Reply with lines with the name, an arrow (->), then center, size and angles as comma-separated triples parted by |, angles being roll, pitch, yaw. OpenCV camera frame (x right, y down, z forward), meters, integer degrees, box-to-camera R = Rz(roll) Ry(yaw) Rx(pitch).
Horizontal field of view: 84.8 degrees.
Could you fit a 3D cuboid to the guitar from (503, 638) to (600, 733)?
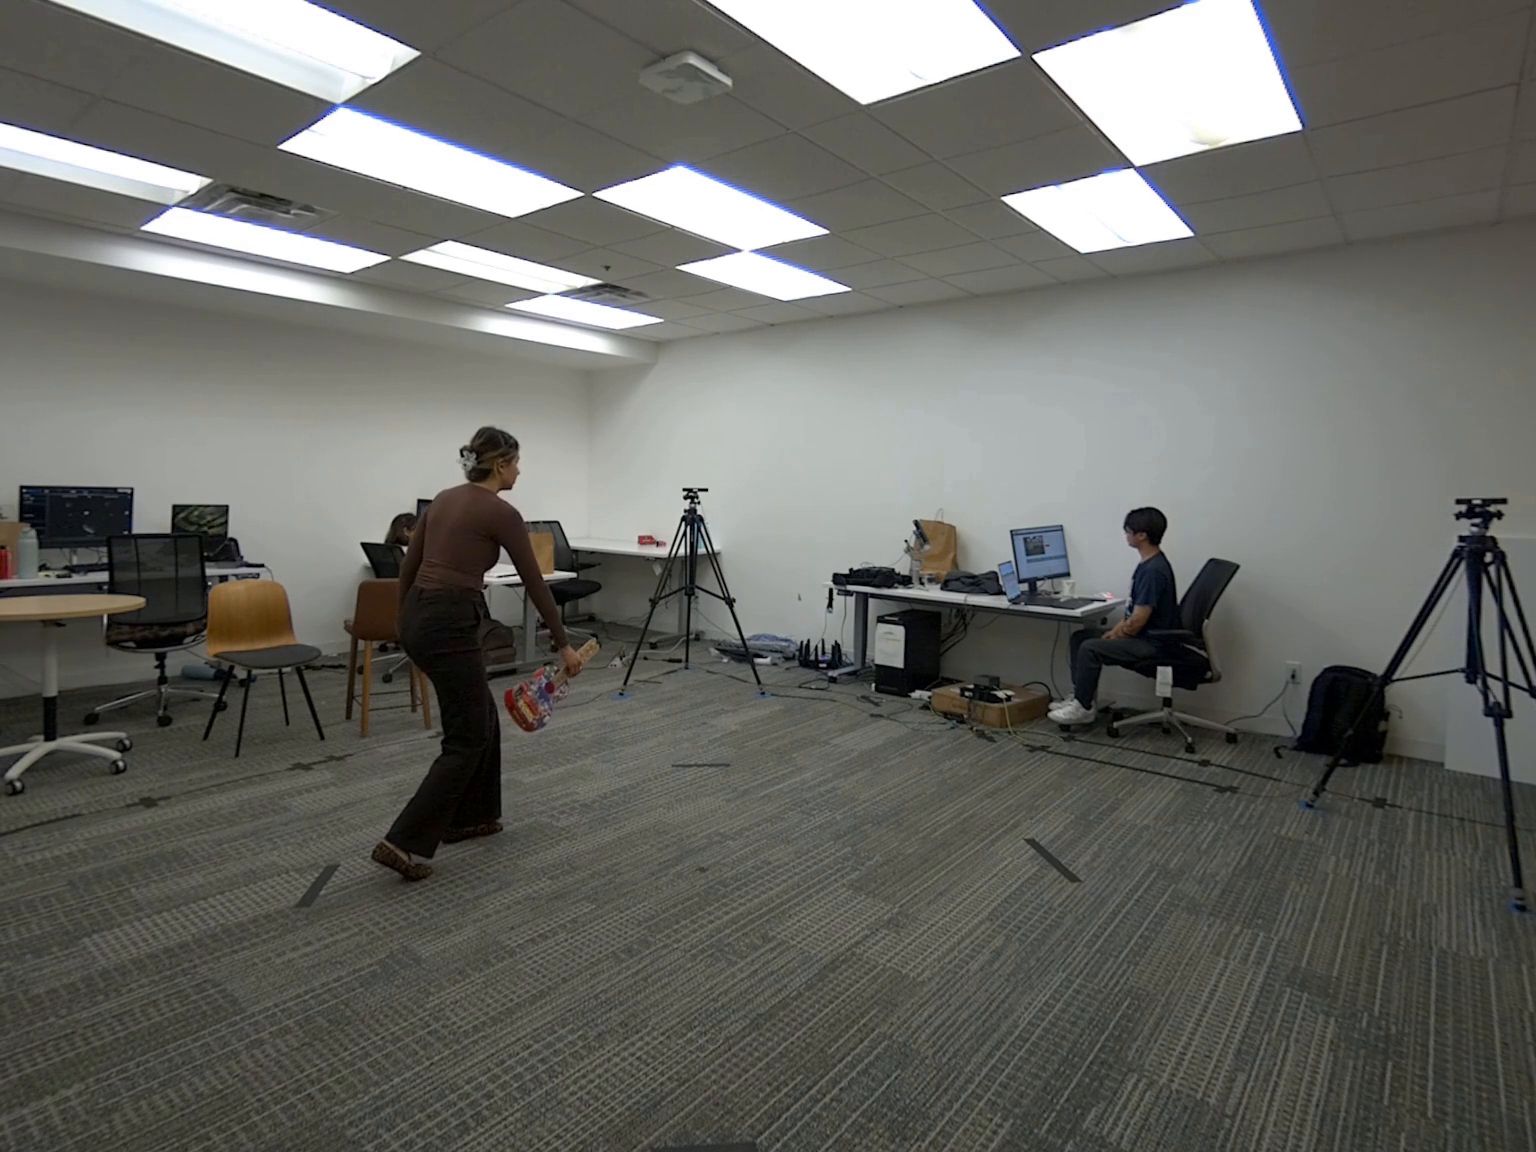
guitar -> -0.830, 0.436, 3.345 | 0.072, 0.192, 0.492 | -27, 4, 37
